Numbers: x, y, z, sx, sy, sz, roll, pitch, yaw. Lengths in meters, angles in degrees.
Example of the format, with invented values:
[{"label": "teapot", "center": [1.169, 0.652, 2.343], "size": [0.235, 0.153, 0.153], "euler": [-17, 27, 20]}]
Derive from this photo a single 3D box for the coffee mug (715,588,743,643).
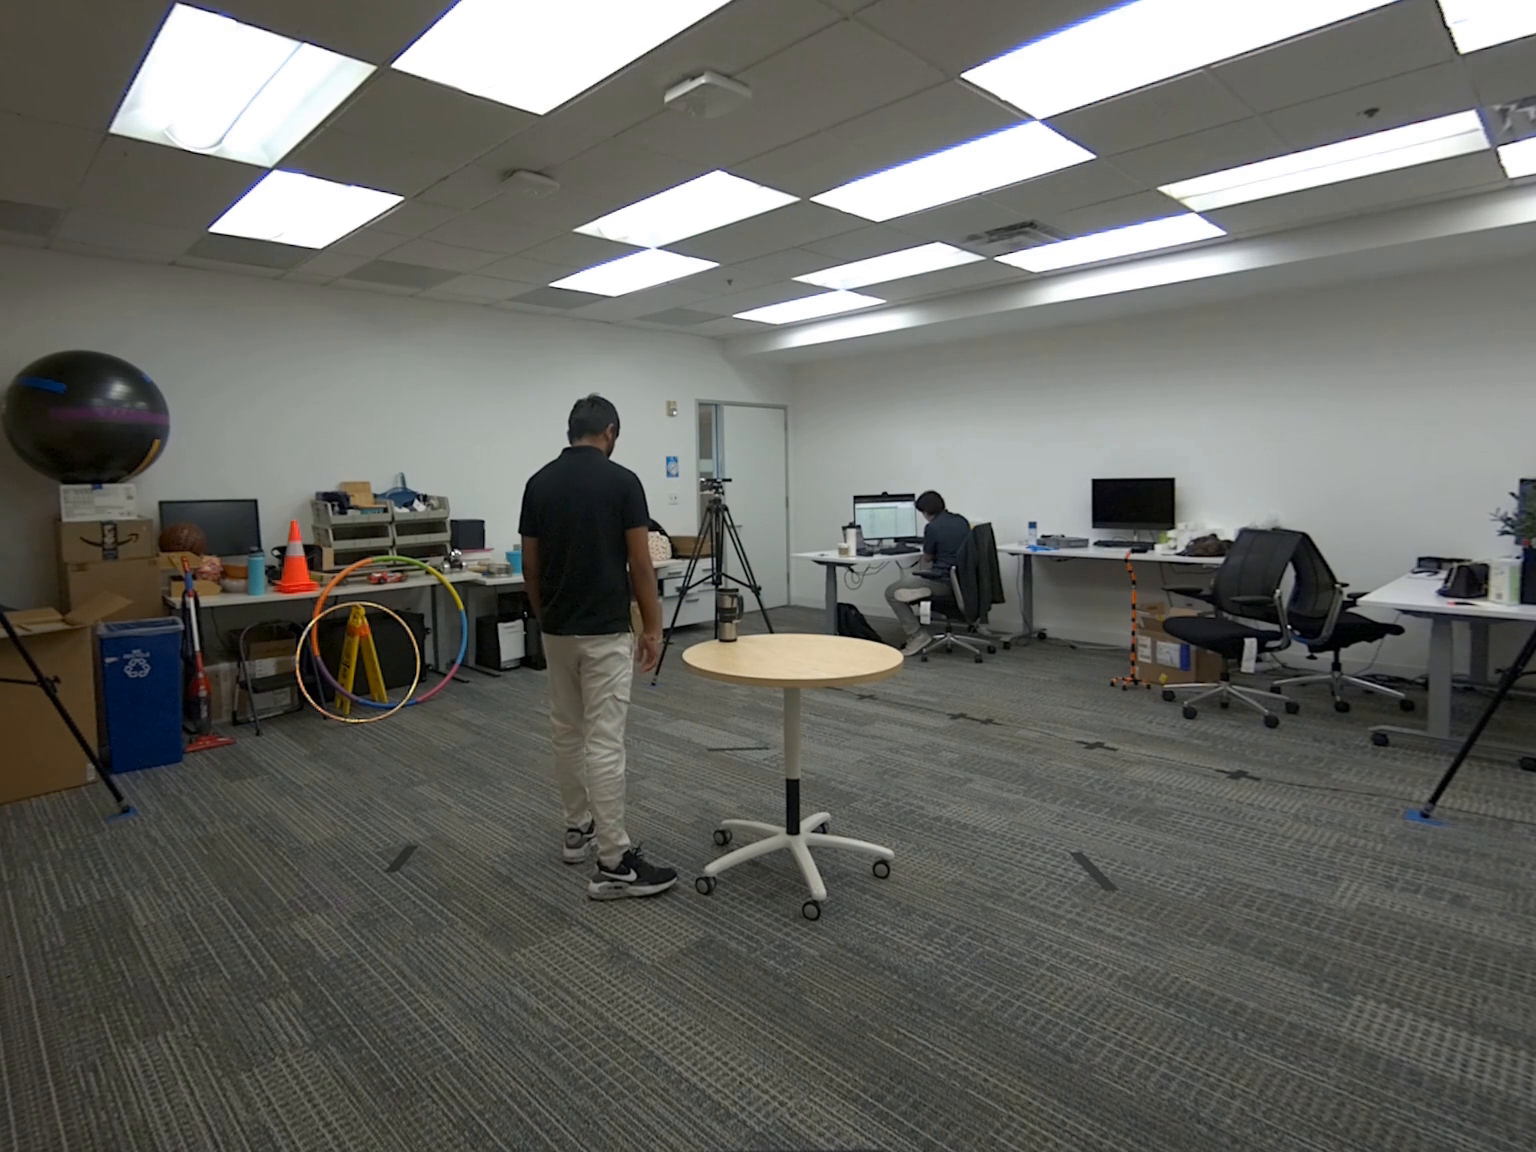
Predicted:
[{"label": "coffee mug", "center": [-0.162, 0.147, 3.214], "size": [0.091, 0.202, 0.118], "euler": [11, 8, 40]}]
